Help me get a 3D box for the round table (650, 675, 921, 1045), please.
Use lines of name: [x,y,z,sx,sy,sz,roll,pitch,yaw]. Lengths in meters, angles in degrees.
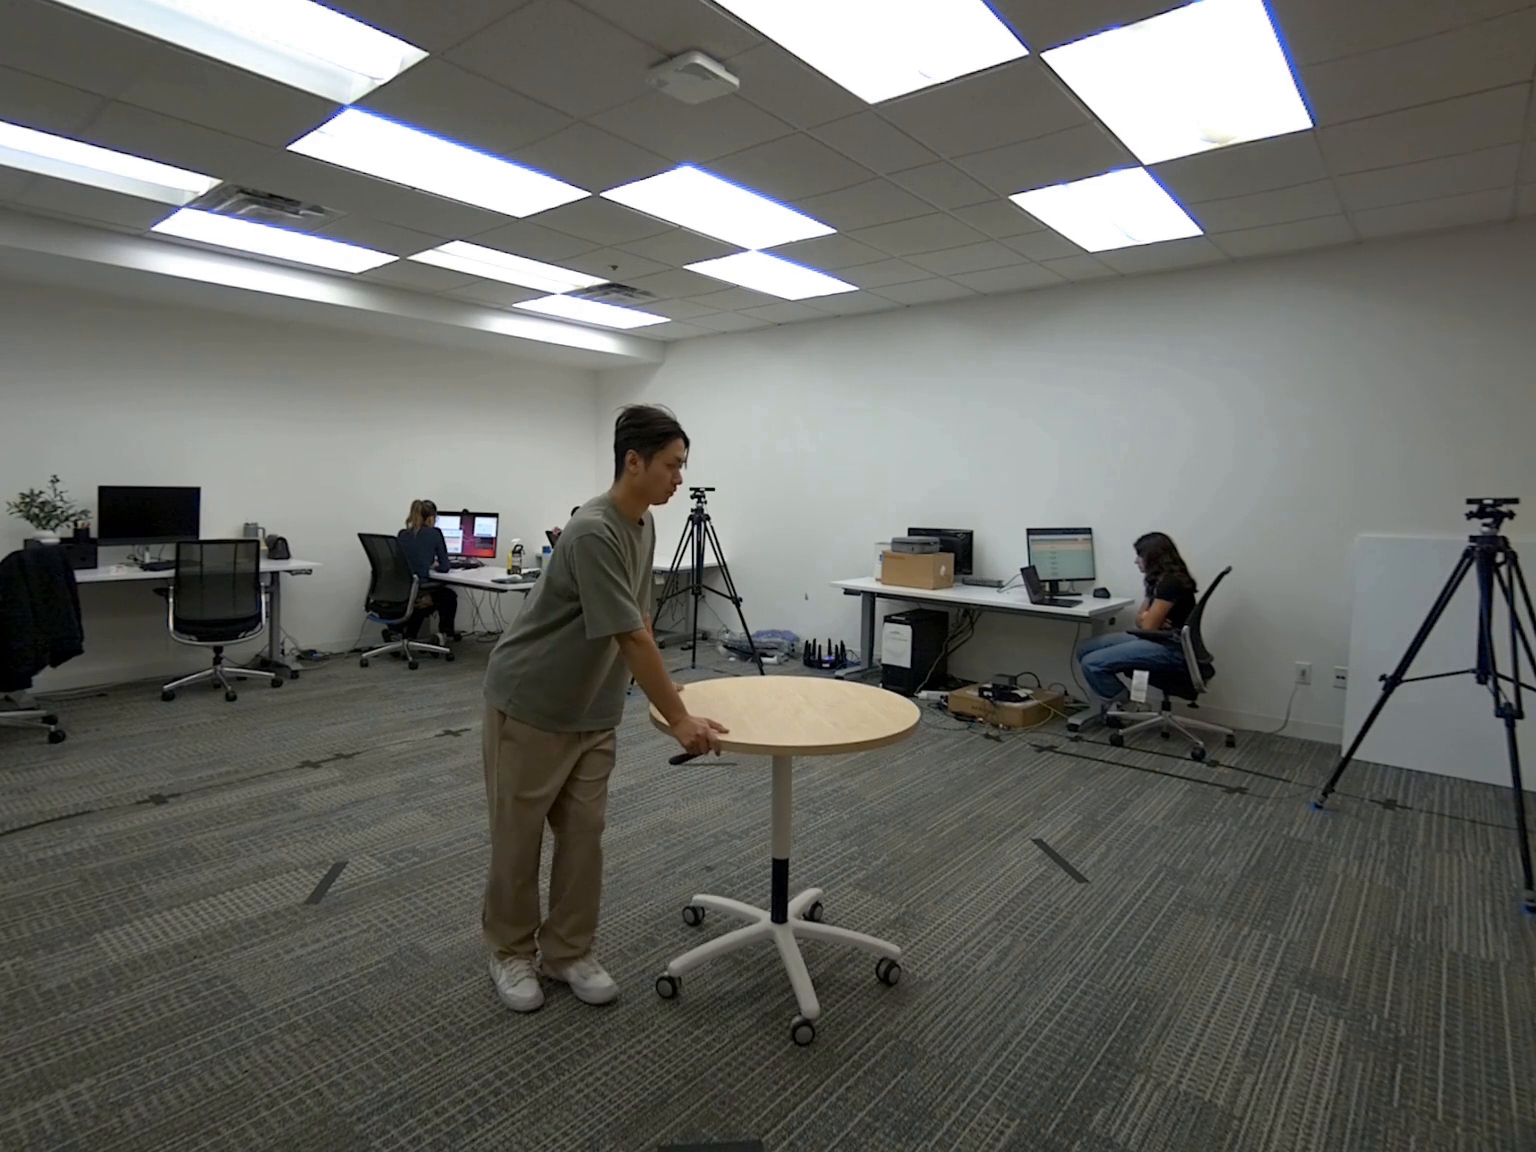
round table: [0.041,0.752,2.452,0.784,0.784,0.789,0,4,-2]
